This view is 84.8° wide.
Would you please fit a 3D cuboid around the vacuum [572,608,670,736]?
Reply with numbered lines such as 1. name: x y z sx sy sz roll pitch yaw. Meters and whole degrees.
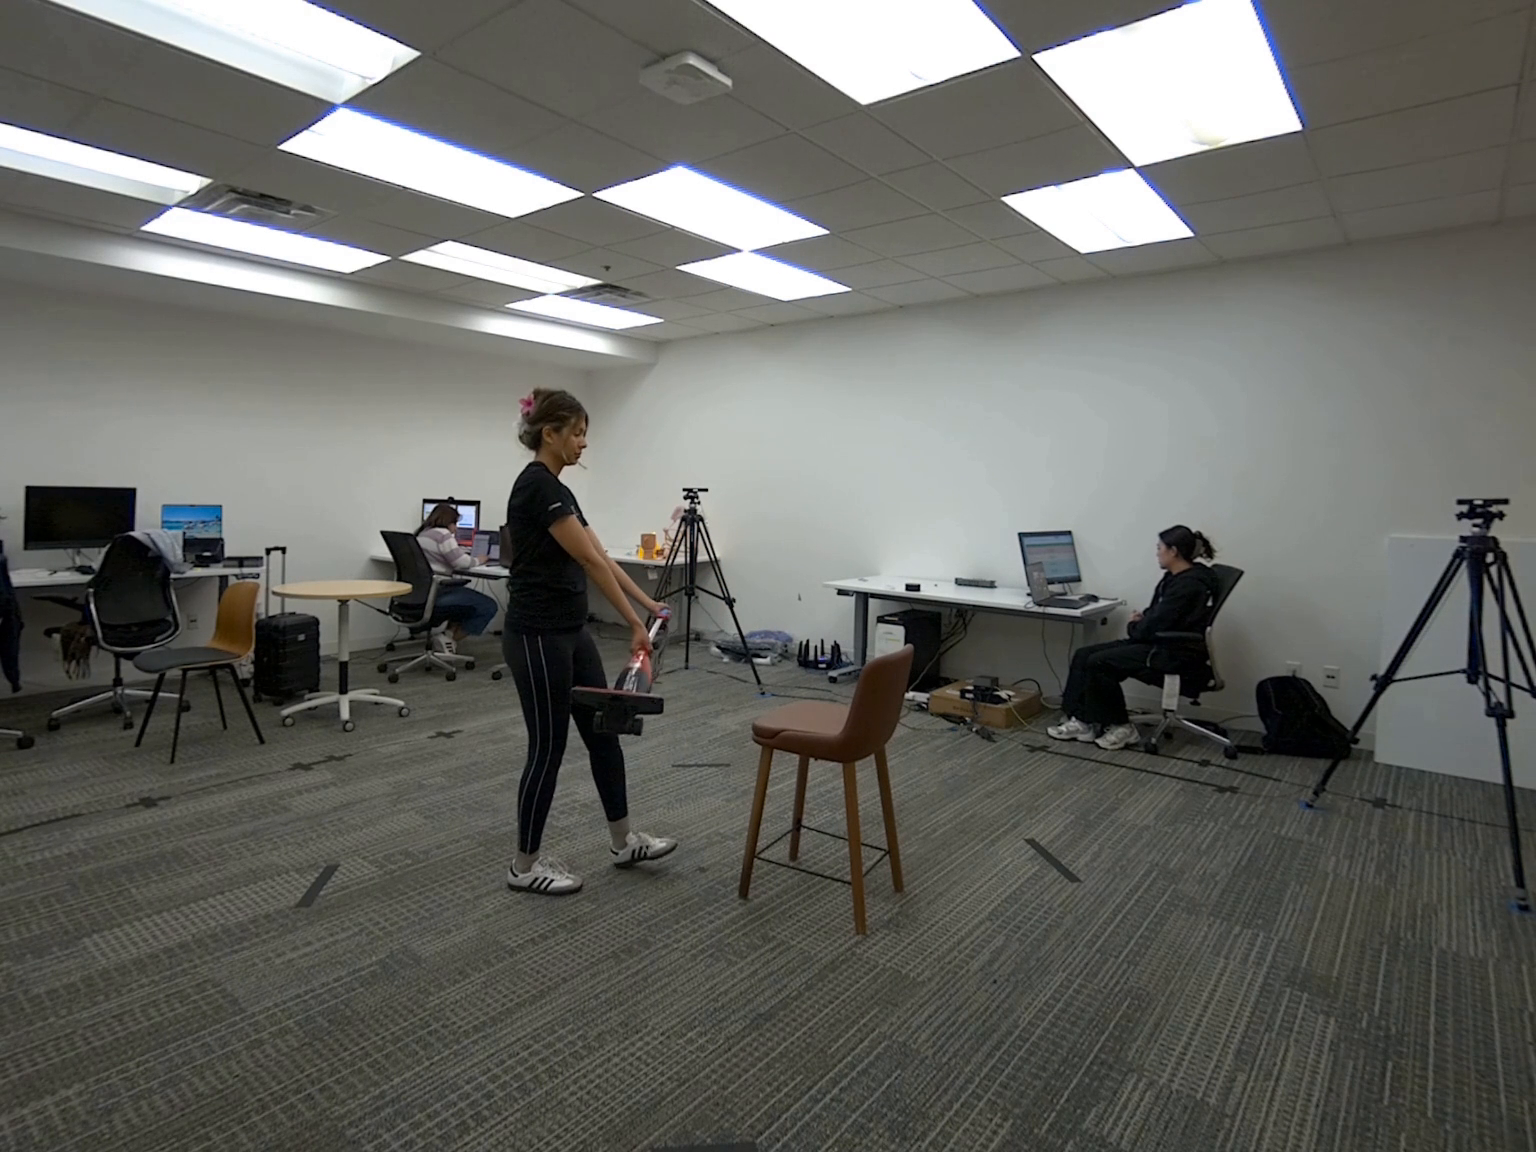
1. vacuum: -0.403 0.273 2.820 0.252 0.143 1.058 8 12 -2
